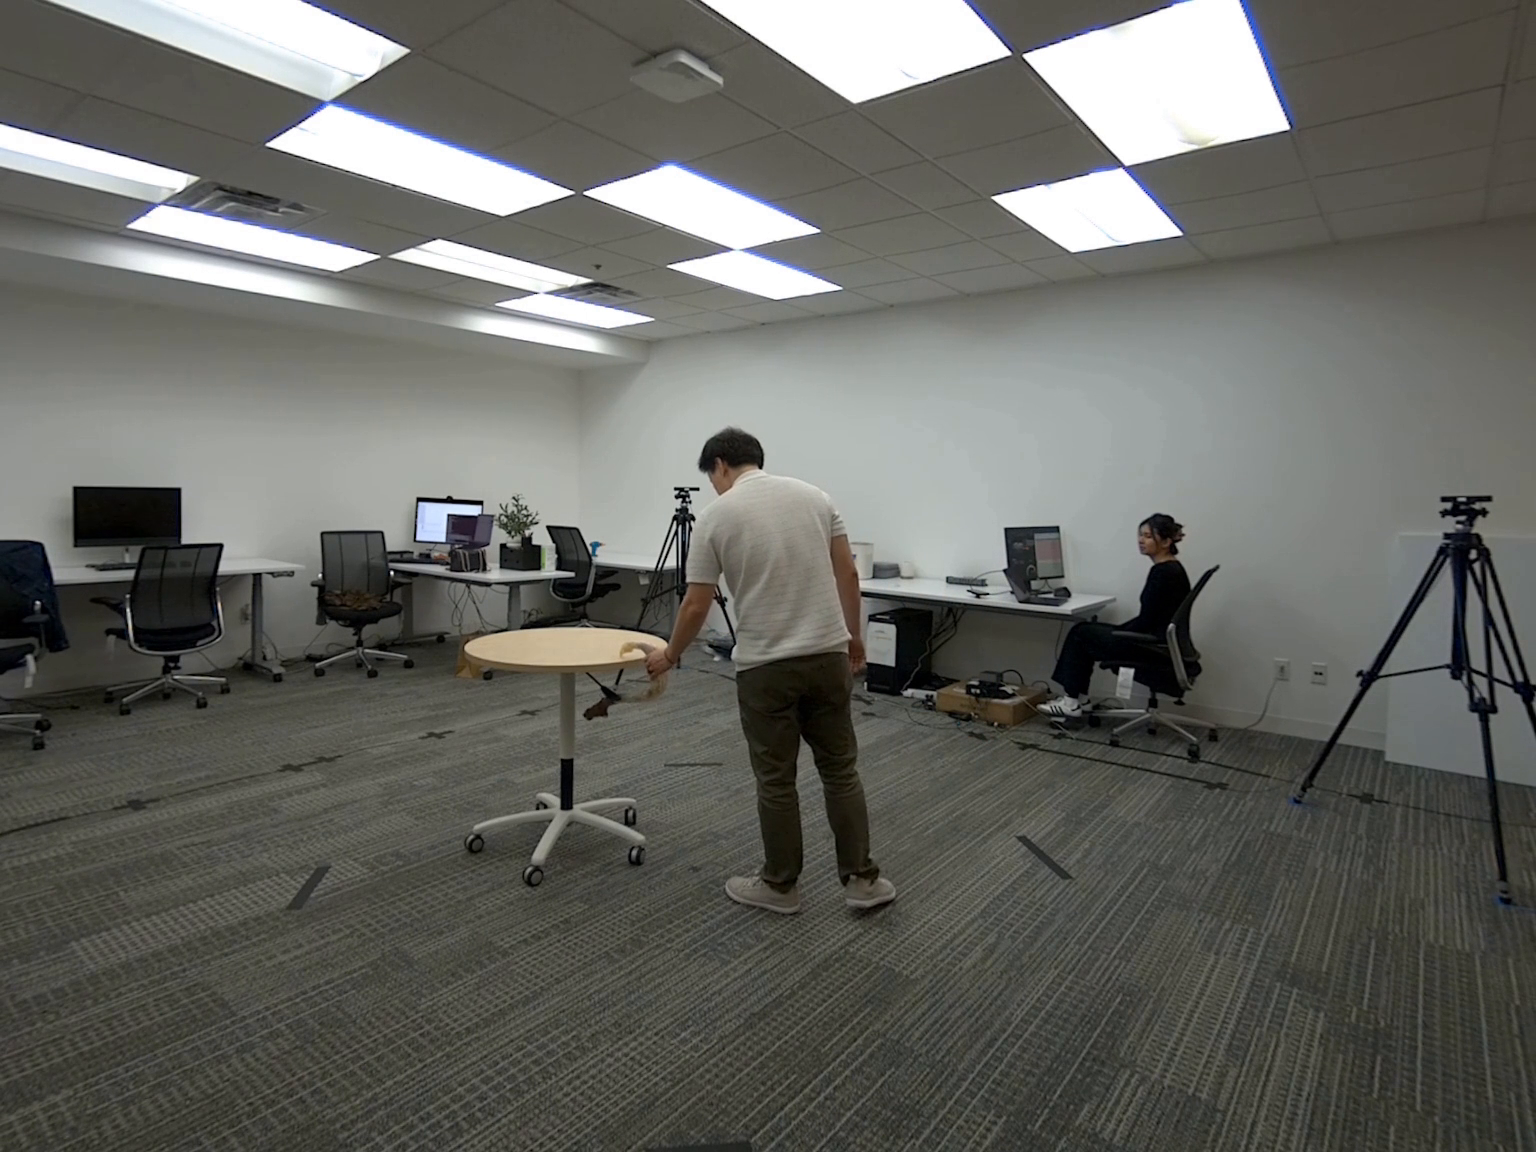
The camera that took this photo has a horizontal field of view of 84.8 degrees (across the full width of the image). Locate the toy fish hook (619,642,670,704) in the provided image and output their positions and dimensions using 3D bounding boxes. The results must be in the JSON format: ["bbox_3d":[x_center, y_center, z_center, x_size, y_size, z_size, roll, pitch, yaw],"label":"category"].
[{"bbox_3d":[-0.551,0.382,3.095,0.513,0.228,0.047,-30,-15,37],"label":"toy fish hook"}]
